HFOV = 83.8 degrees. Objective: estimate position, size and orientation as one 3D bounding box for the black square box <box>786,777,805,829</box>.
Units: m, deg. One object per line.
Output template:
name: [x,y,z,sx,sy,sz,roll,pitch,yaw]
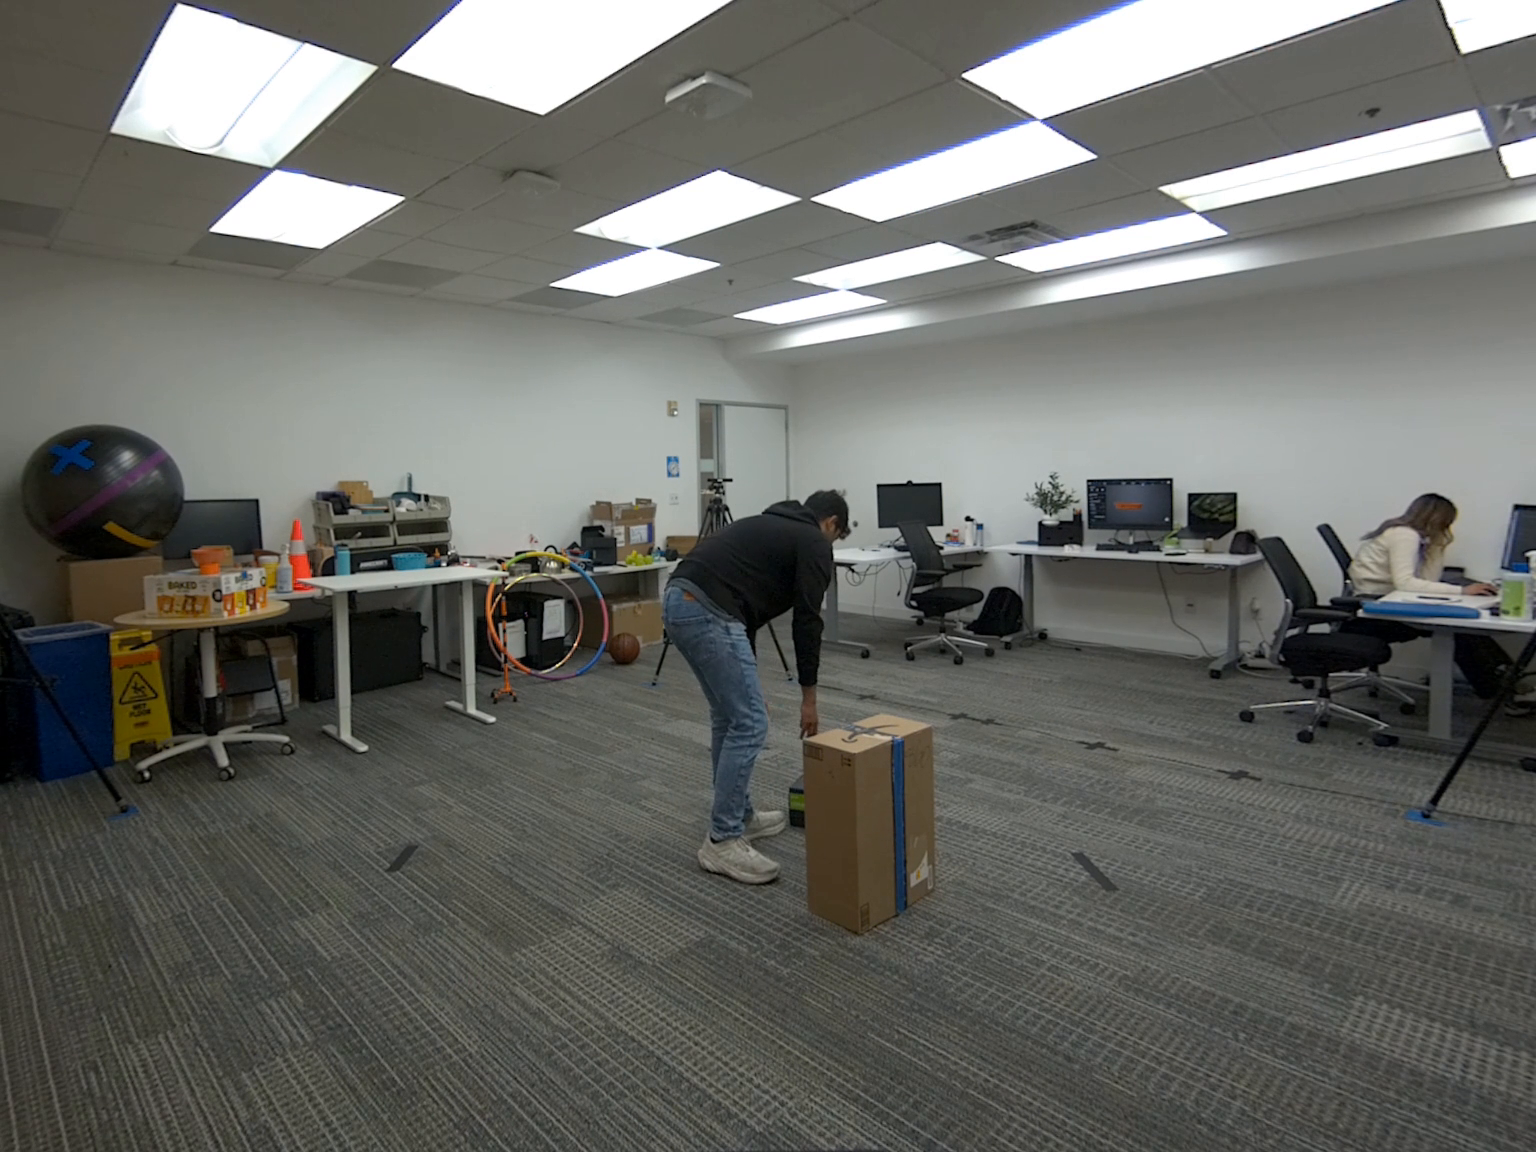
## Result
black square box: [0.238,0.907,3.485,0.233,0.155,0.213,2,6,24]
